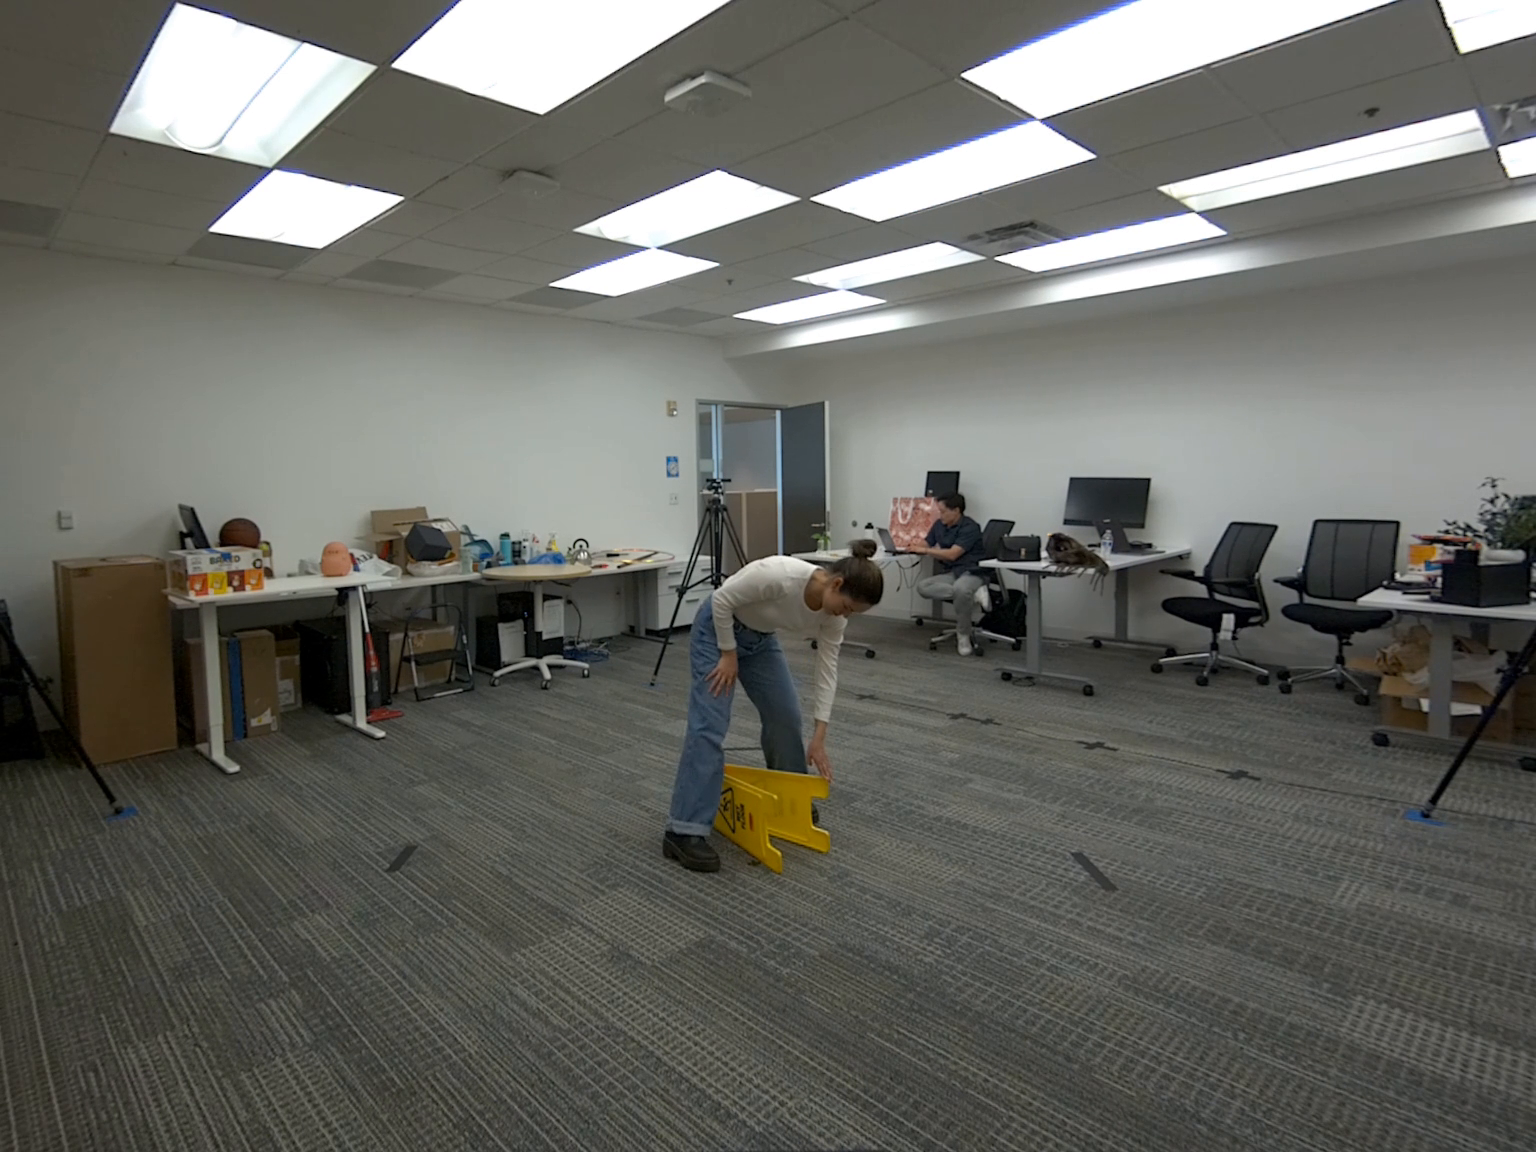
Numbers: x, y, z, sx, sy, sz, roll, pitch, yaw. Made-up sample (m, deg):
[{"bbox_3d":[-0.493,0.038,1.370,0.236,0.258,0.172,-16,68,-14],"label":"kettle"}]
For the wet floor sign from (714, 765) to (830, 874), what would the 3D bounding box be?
[{"bbox_3d":[-0.096,0.889,3.335,0.282,0.281,0.665,-5,5,-43],"label":"wet floor sign"}]
